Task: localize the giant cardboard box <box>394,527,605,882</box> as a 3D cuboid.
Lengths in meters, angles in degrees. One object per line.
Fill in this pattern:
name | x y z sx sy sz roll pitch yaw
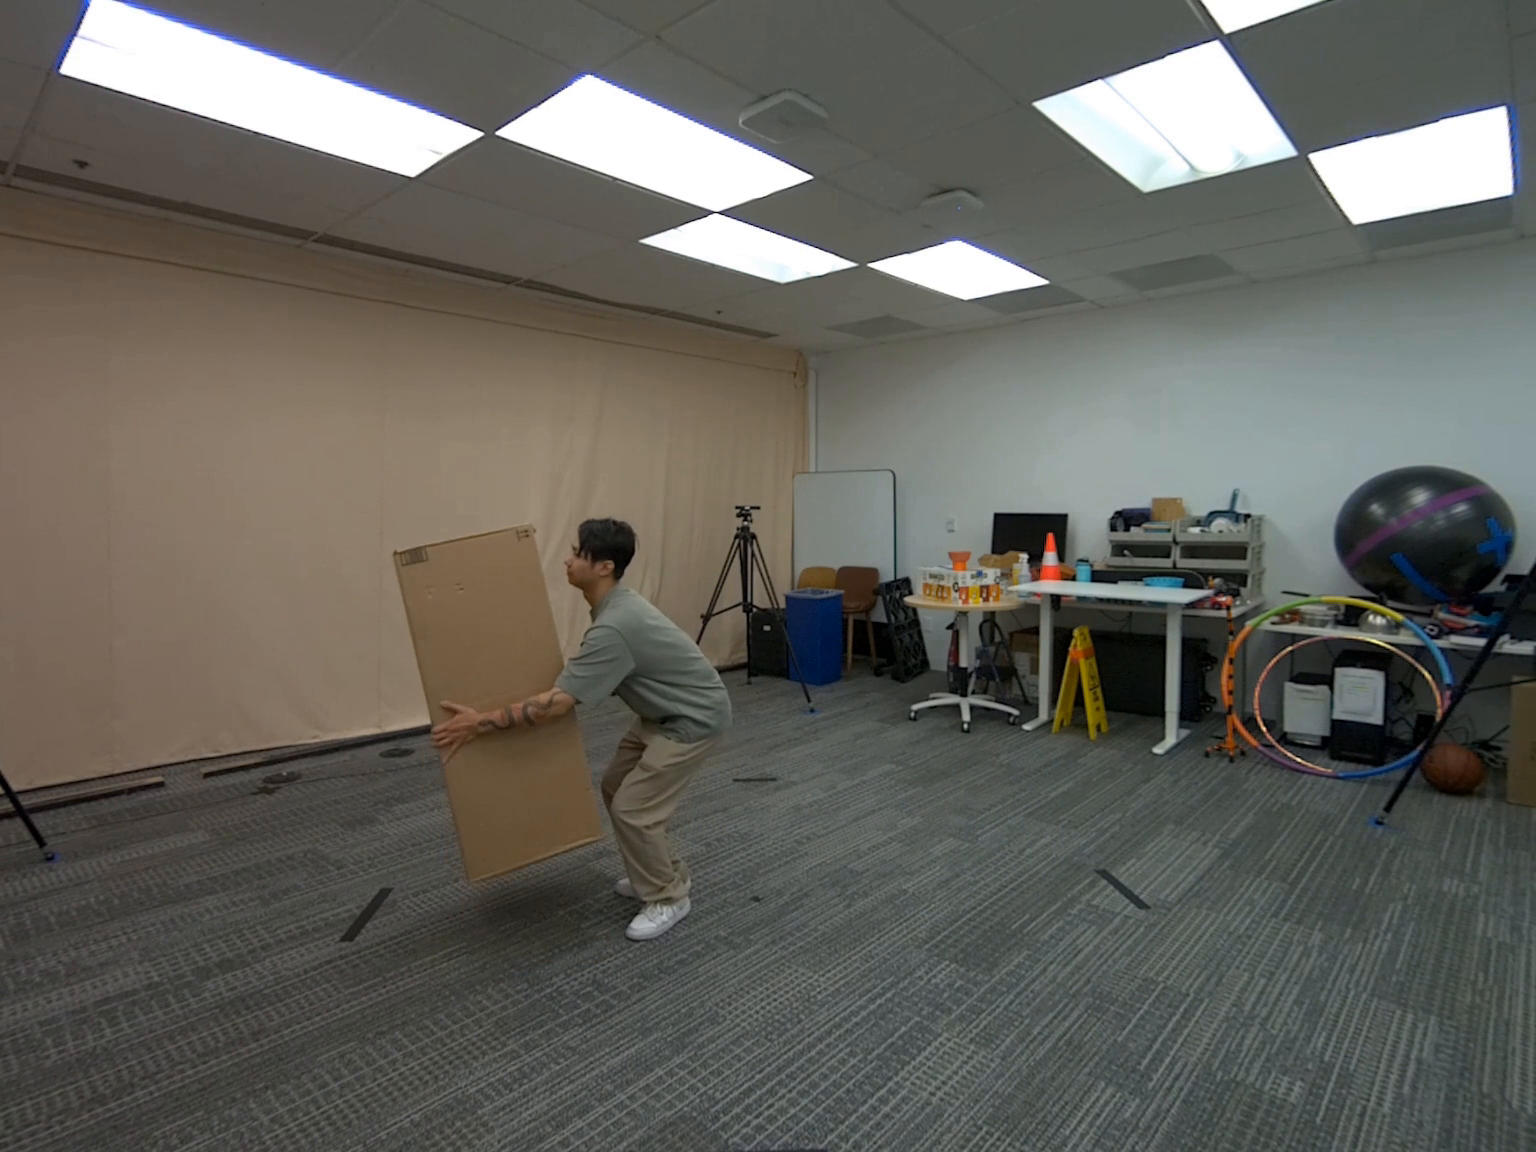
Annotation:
giant cardboard box | -0.925 0.391 2.837 0.418 1.026 0.588 -13 0 -23
